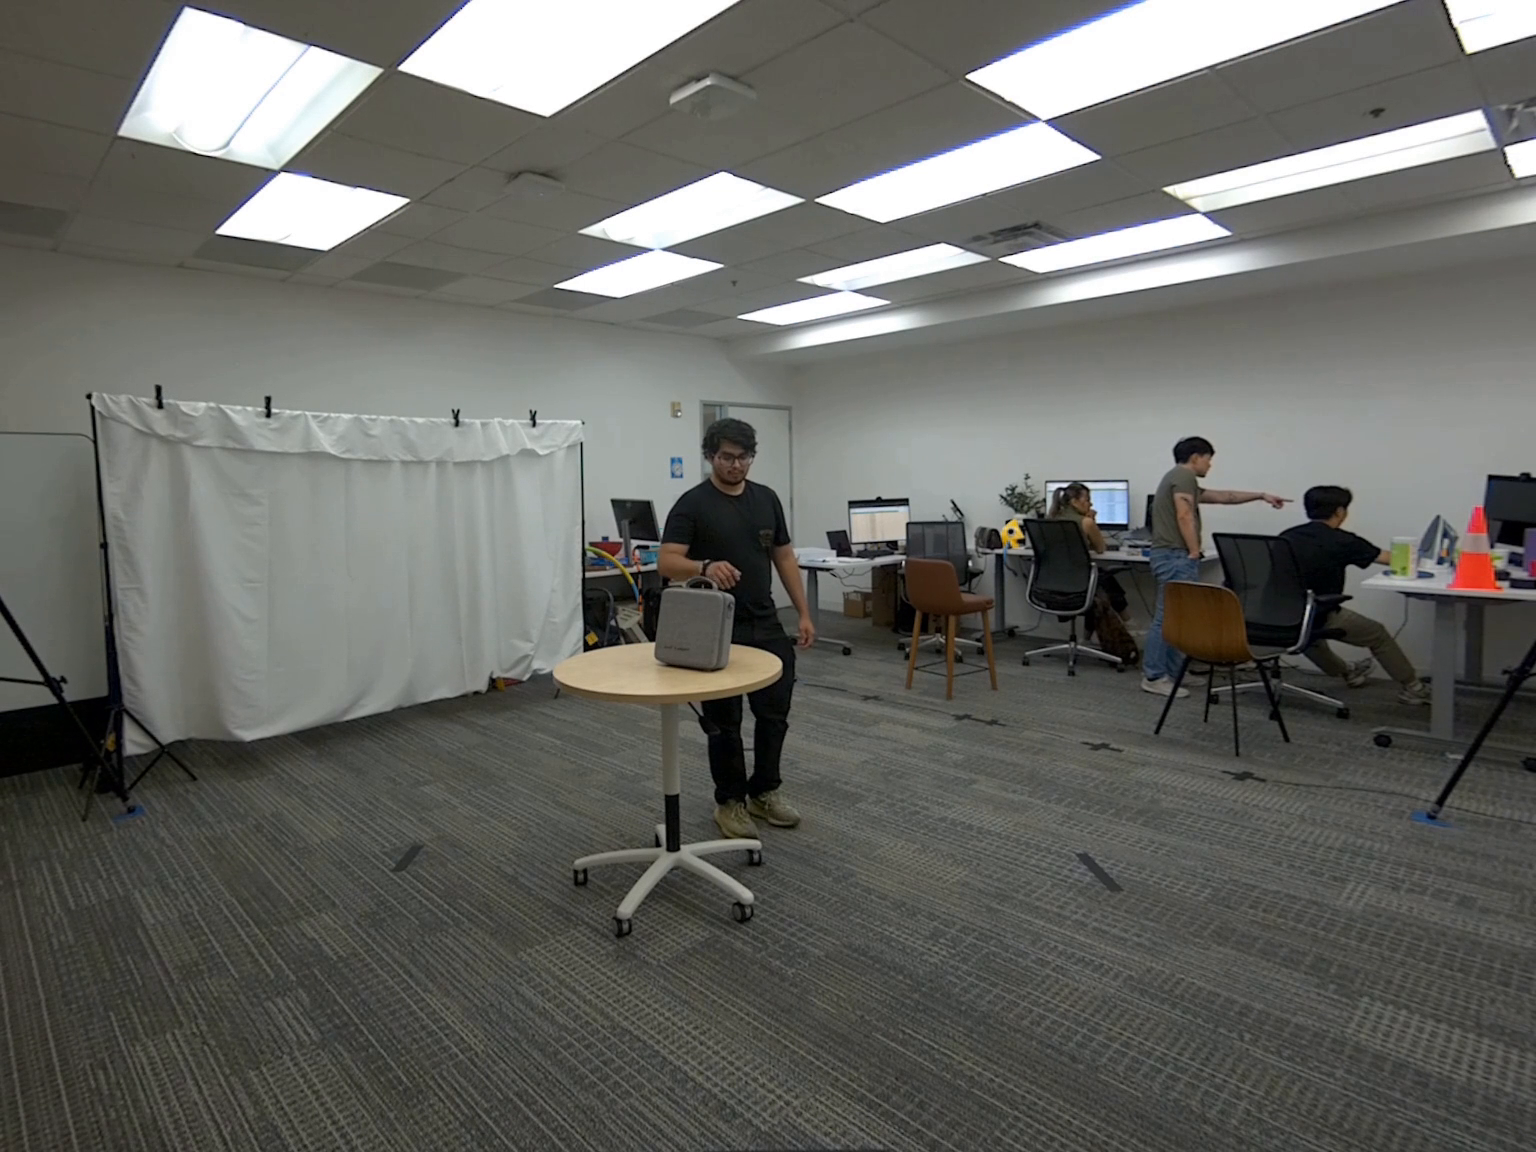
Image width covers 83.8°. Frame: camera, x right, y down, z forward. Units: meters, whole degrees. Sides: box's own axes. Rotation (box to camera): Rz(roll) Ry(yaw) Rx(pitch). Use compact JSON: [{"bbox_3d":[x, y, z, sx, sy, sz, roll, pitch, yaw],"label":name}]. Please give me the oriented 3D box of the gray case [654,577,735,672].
[{"bbox_3d":[-0.246,0.171,2.850,0.264,0.262,0.101,3,-8,33],"label":"gray case"}]
